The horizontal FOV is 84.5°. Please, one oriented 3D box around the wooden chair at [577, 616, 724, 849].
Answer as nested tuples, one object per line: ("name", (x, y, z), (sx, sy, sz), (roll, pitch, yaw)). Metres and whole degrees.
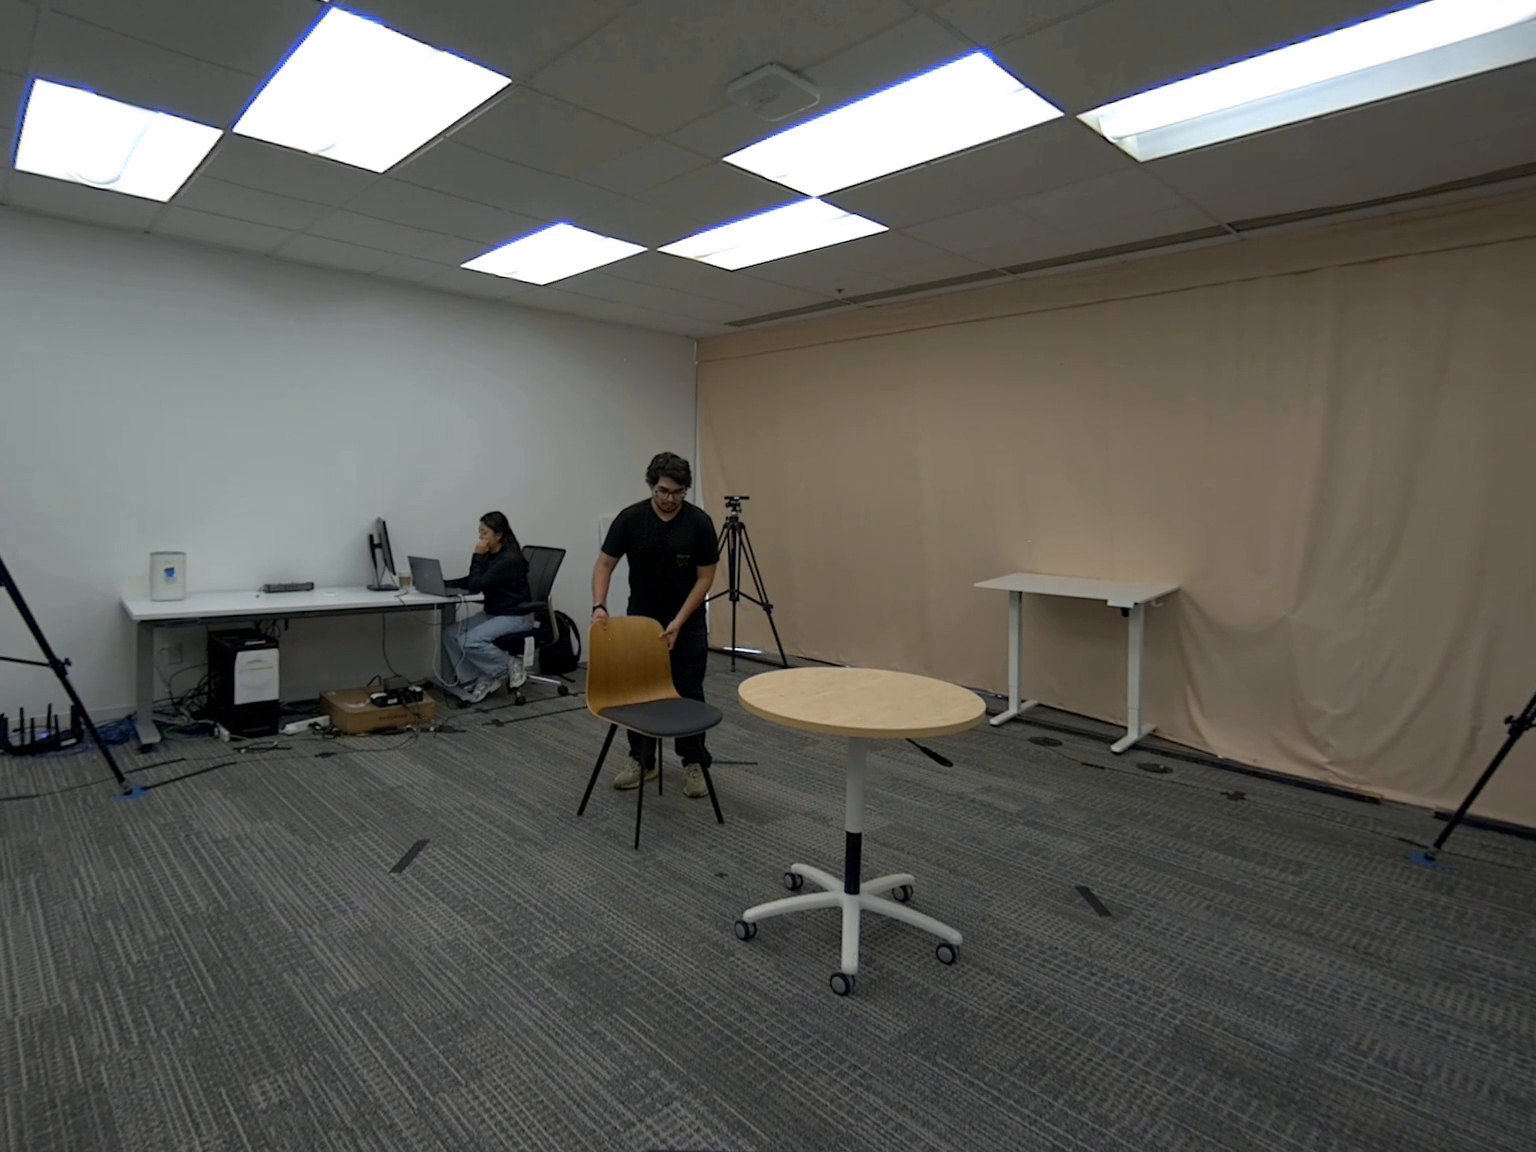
("wooden chair", (-0.504, 0.625, 3.584), (0.467, 0.878, 0.535), (-1, 0, -42))
